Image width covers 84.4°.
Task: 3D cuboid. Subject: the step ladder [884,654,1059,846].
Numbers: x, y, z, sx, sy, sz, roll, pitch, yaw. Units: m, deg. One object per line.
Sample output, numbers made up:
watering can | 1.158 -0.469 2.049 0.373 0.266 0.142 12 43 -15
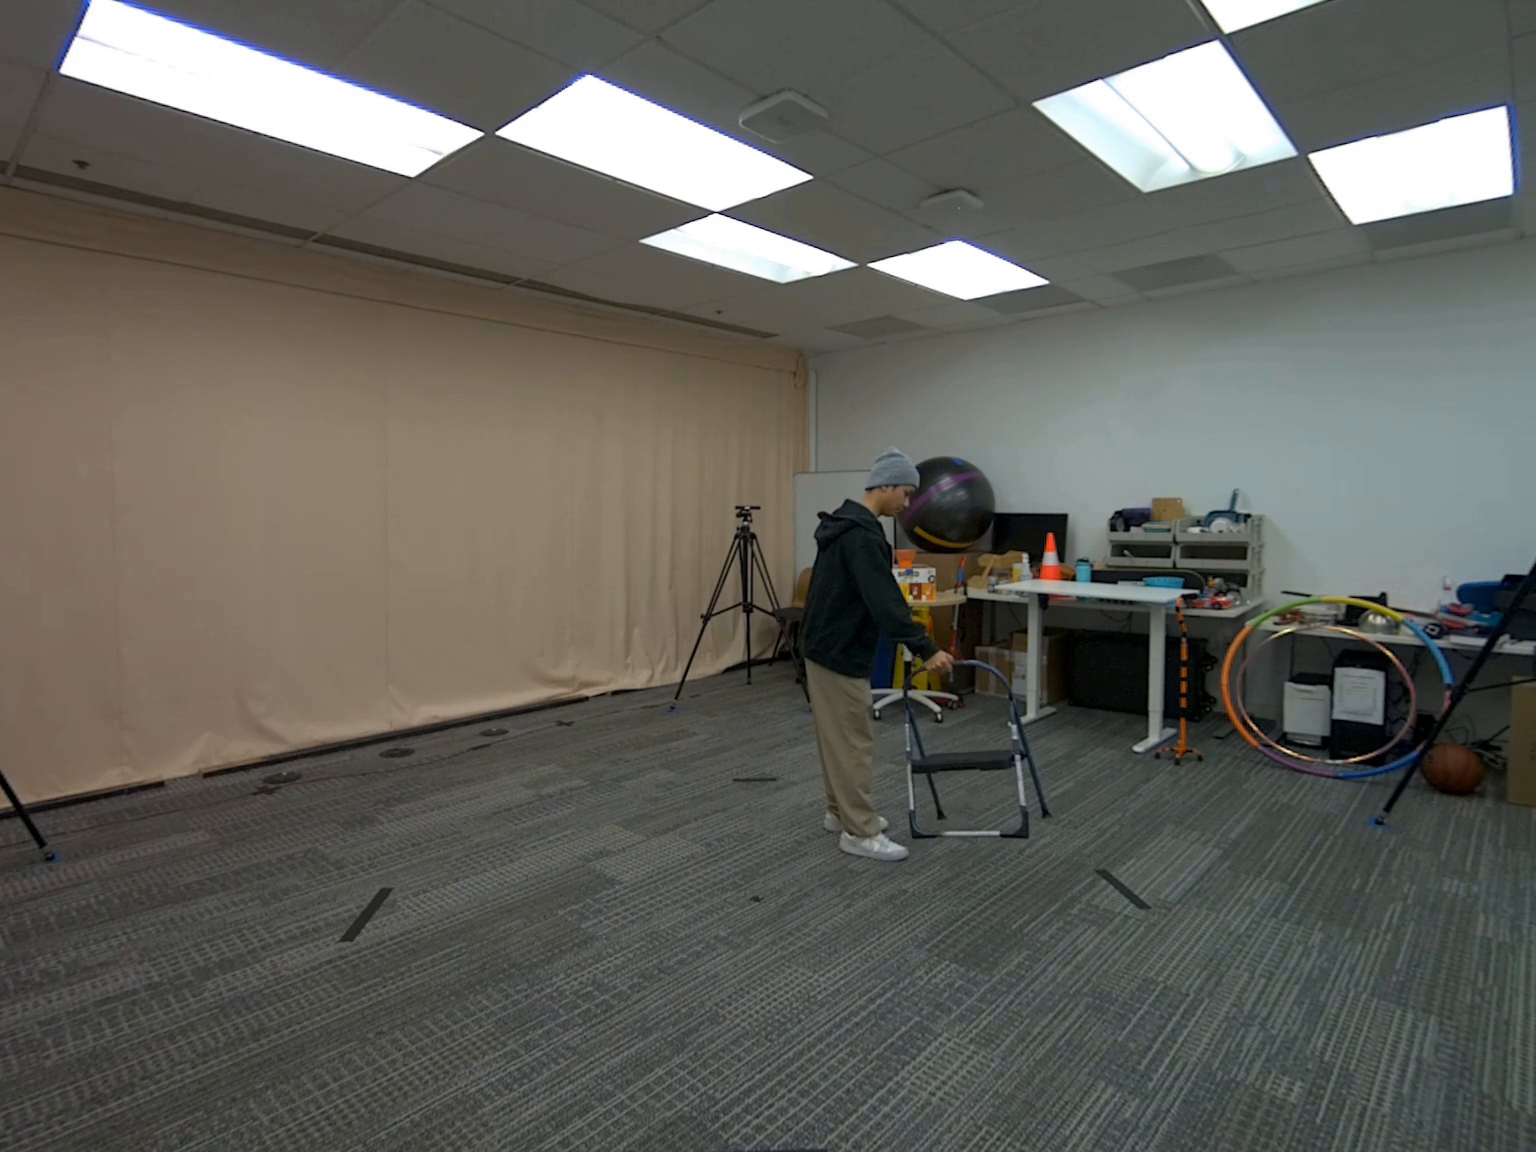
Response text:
step ladder | 0.742 0.626 3.094 0.441 0.610 0.339 -13 -9 30
